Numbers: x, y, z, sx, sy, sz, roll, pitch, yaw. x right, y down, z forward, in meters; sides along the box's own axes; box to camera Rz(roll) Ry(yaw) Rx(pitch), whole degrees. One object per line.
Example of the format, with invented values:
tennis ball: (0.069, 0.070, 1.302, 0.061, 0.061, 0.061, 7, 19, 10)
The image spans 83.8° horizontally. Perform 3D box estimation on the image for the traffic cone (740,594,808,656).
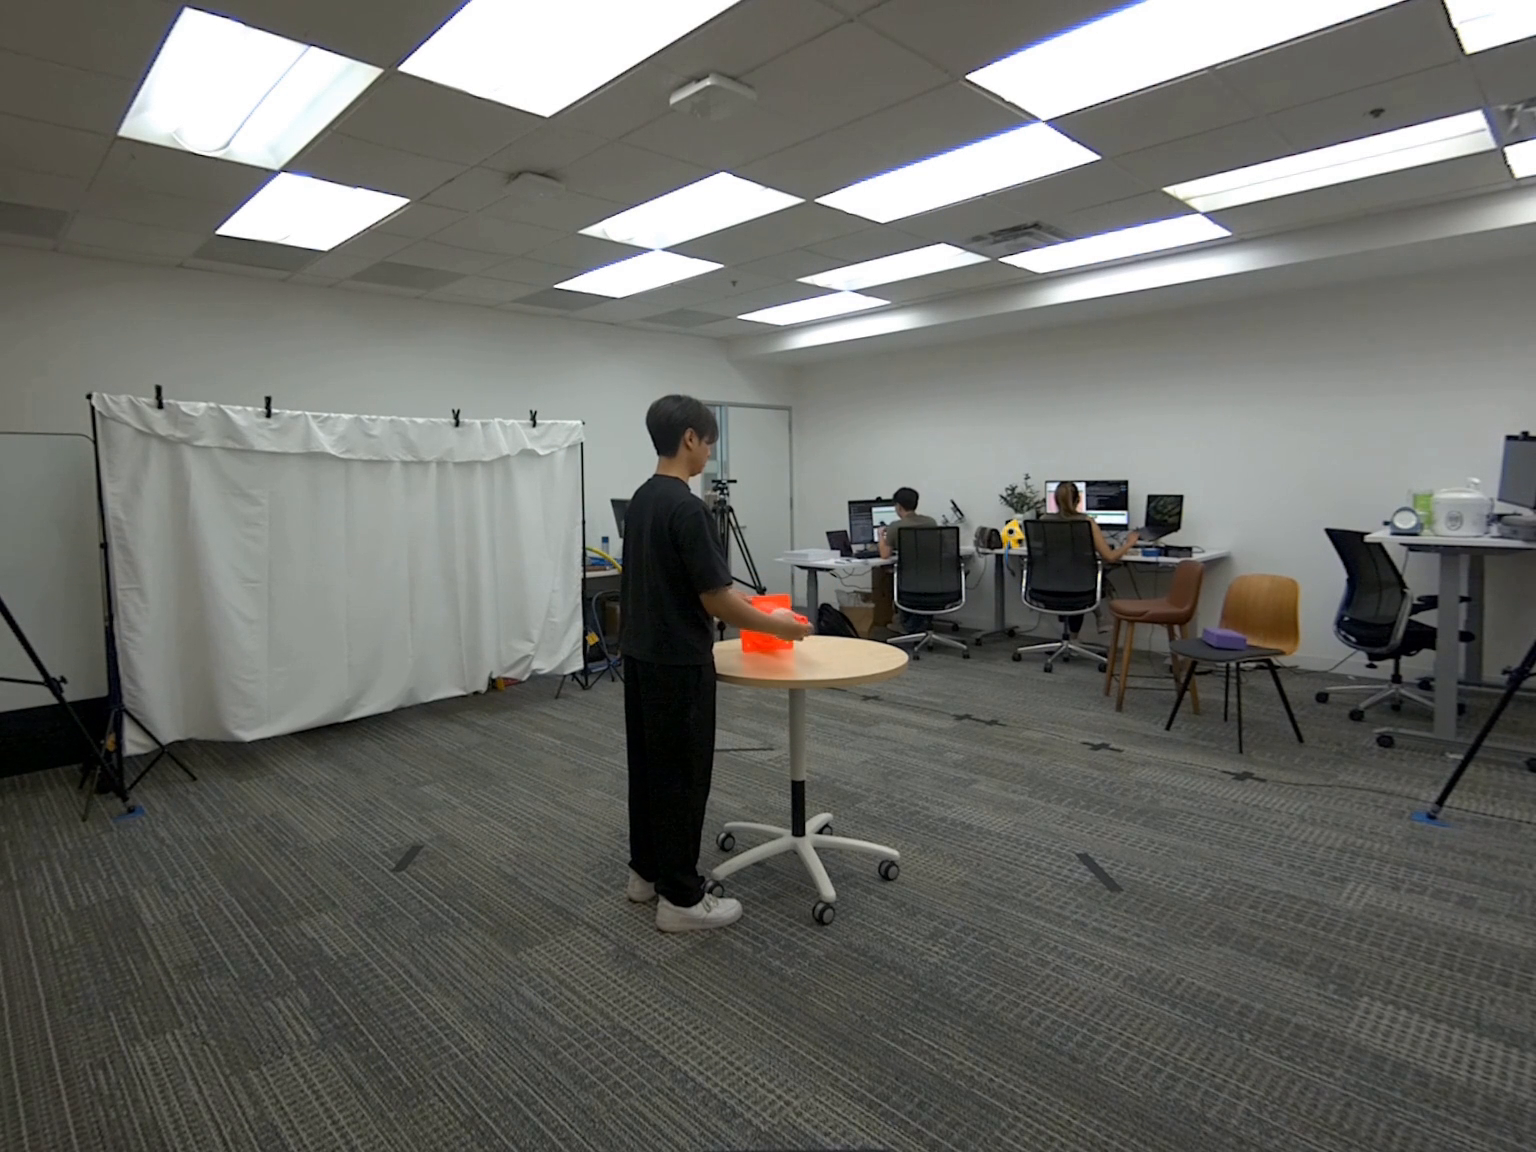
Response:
traffic cone: (0.061, 0.166, 2.895, 0.202, 0.204, 0.387, -3, -3, -16)
